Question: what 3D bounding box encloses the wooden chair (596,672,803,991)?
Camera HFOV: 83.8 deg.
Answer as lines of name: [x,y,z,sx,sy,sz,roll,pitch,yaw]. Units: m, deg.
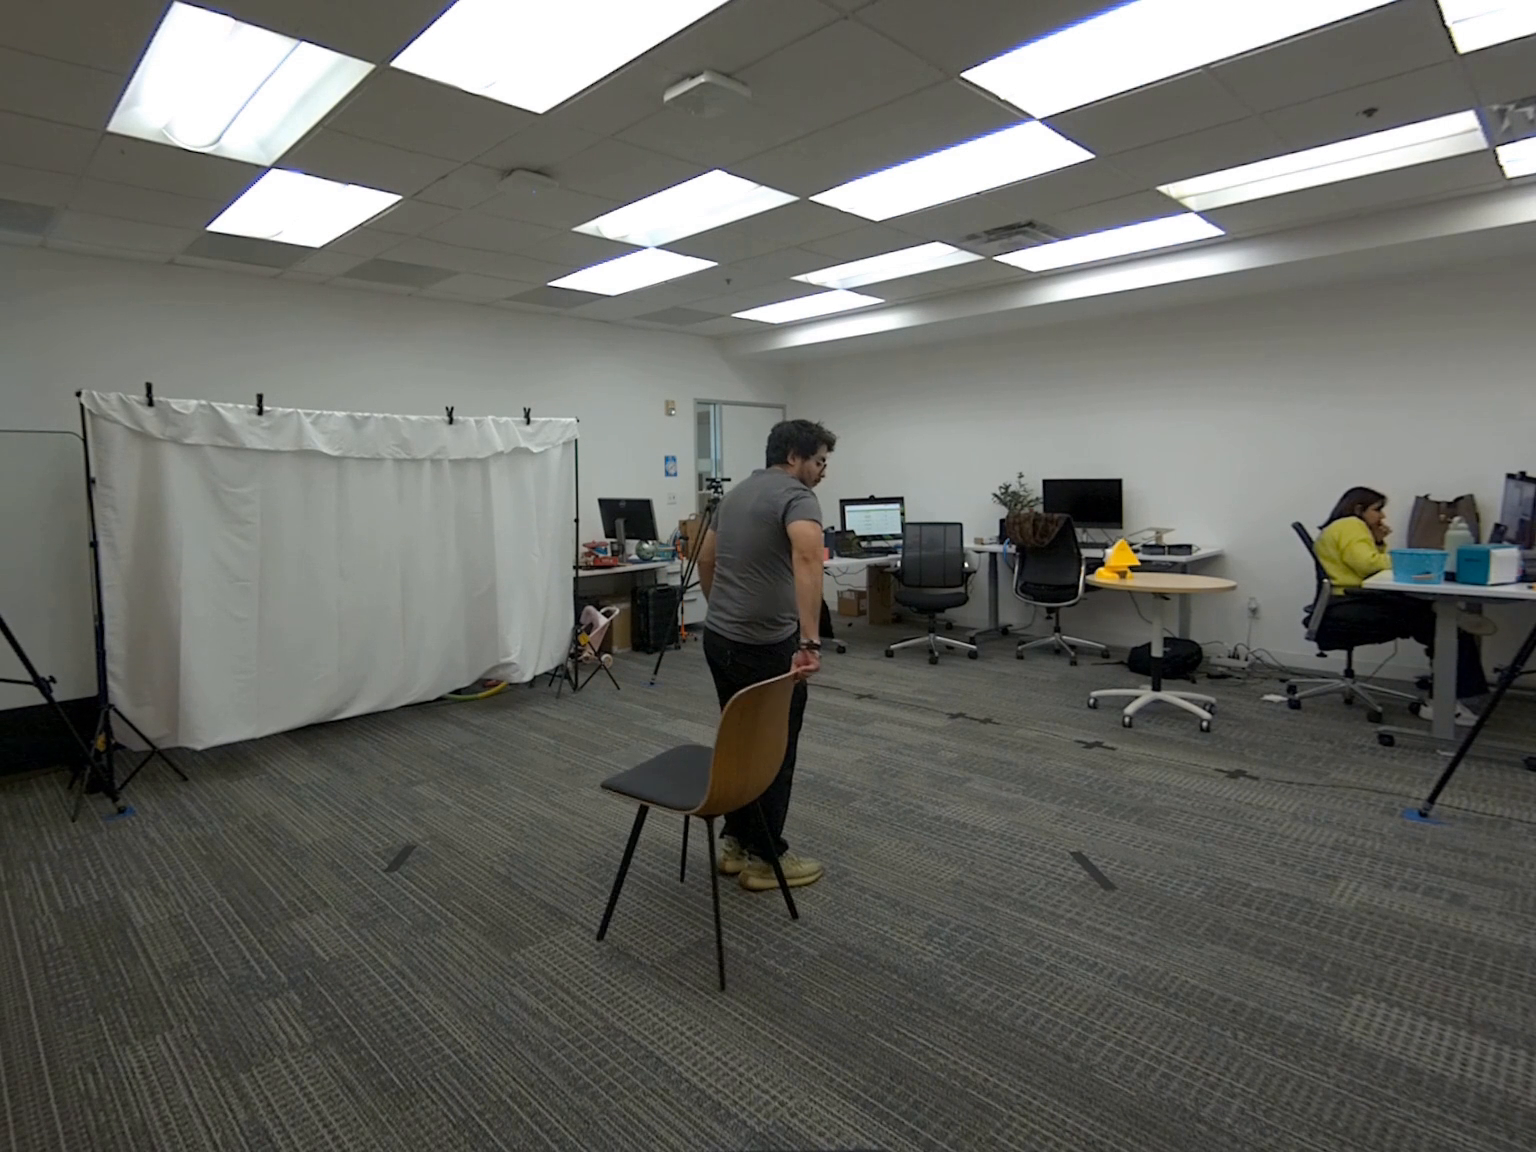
wooden chair: [-0.205,0.670,2.601,0.538,0.872,0.467,9,9,30]
